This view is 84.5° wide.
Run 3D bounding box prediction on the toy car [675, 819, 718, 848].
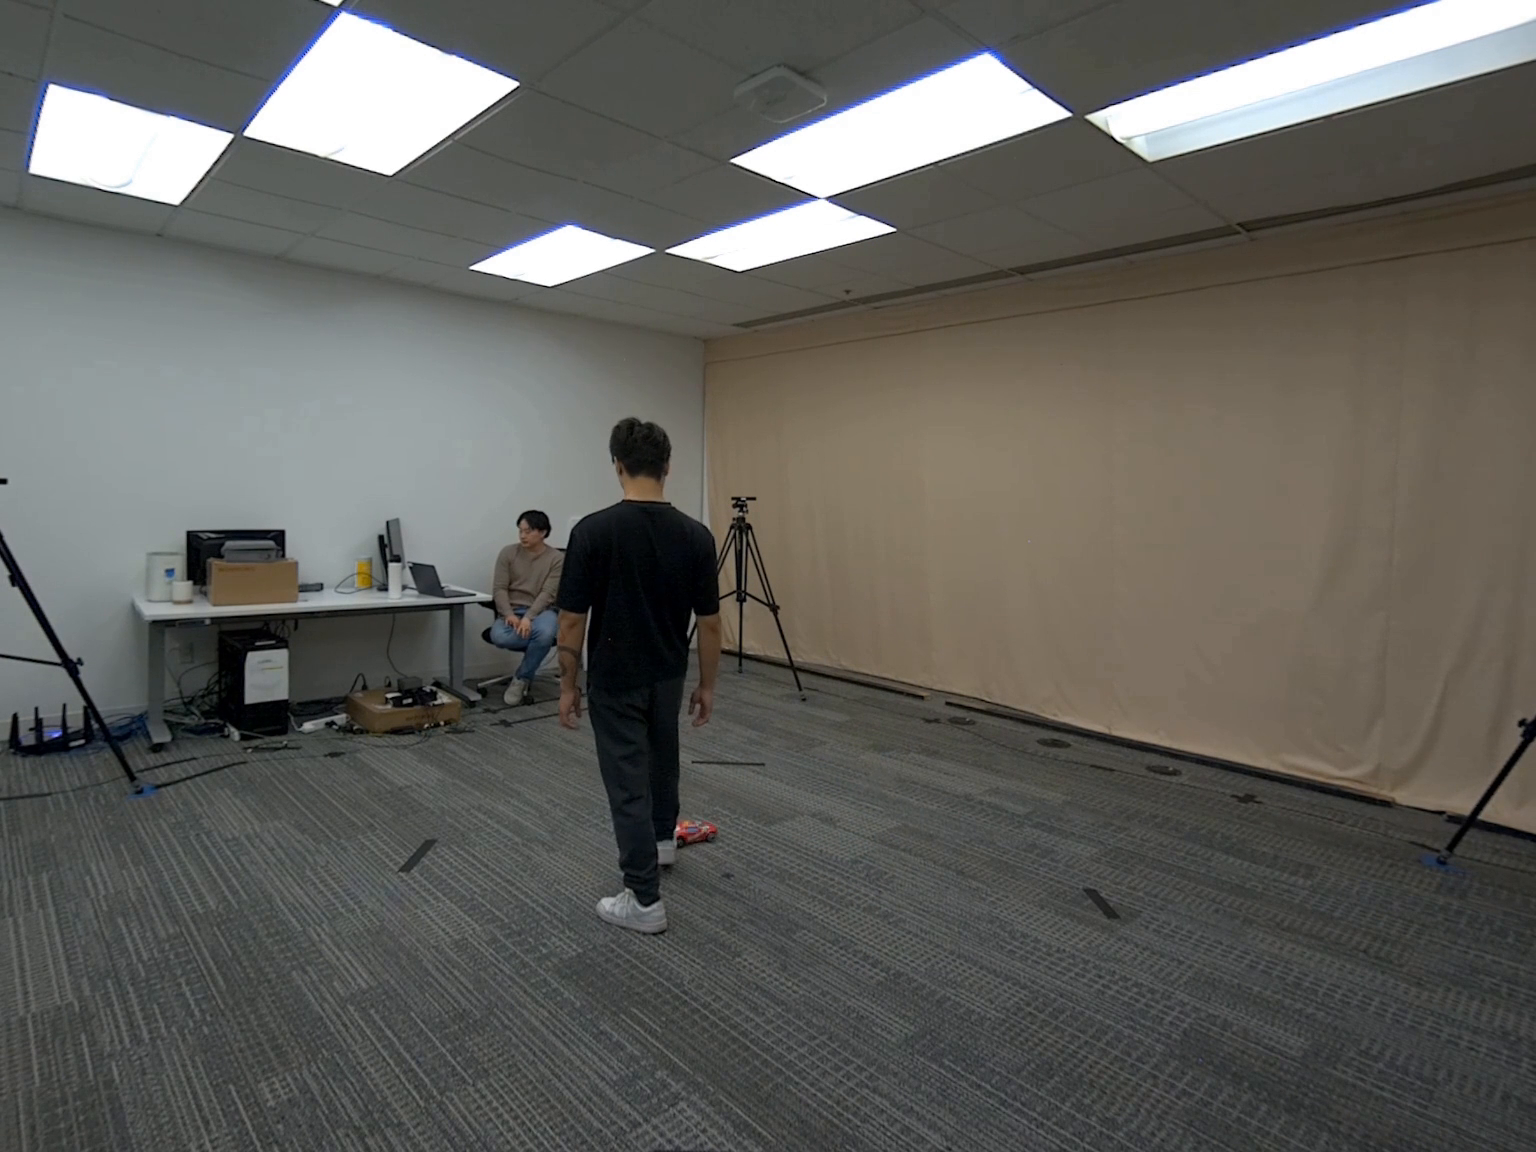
[{"bbox_3d":[-0.349,1.043,3.412,0.248,0.083,0.133,11,-2,-30],"label":"toy car"}]
